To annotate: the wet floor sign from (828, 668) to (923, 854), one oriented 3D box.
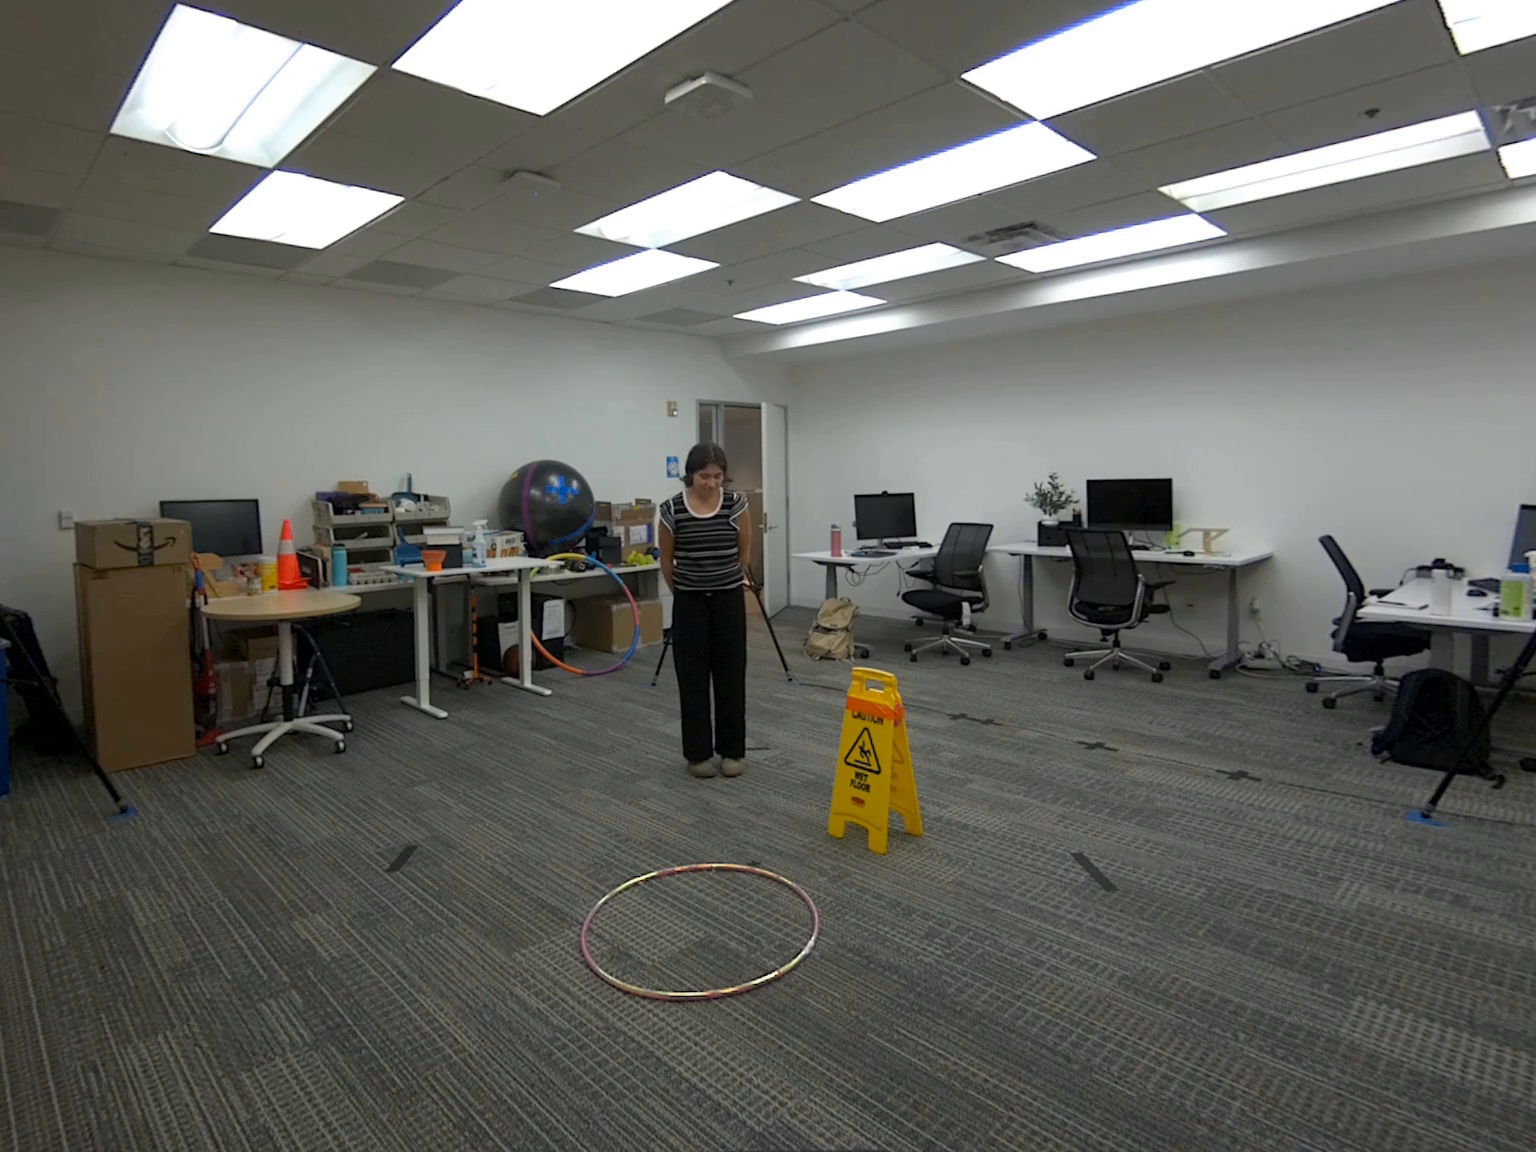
[{"bbox_3d":[0.413,0.688,3.318,0.282,0.644,0.291,-5,5,-43],"label":"wet floor sign"}]
